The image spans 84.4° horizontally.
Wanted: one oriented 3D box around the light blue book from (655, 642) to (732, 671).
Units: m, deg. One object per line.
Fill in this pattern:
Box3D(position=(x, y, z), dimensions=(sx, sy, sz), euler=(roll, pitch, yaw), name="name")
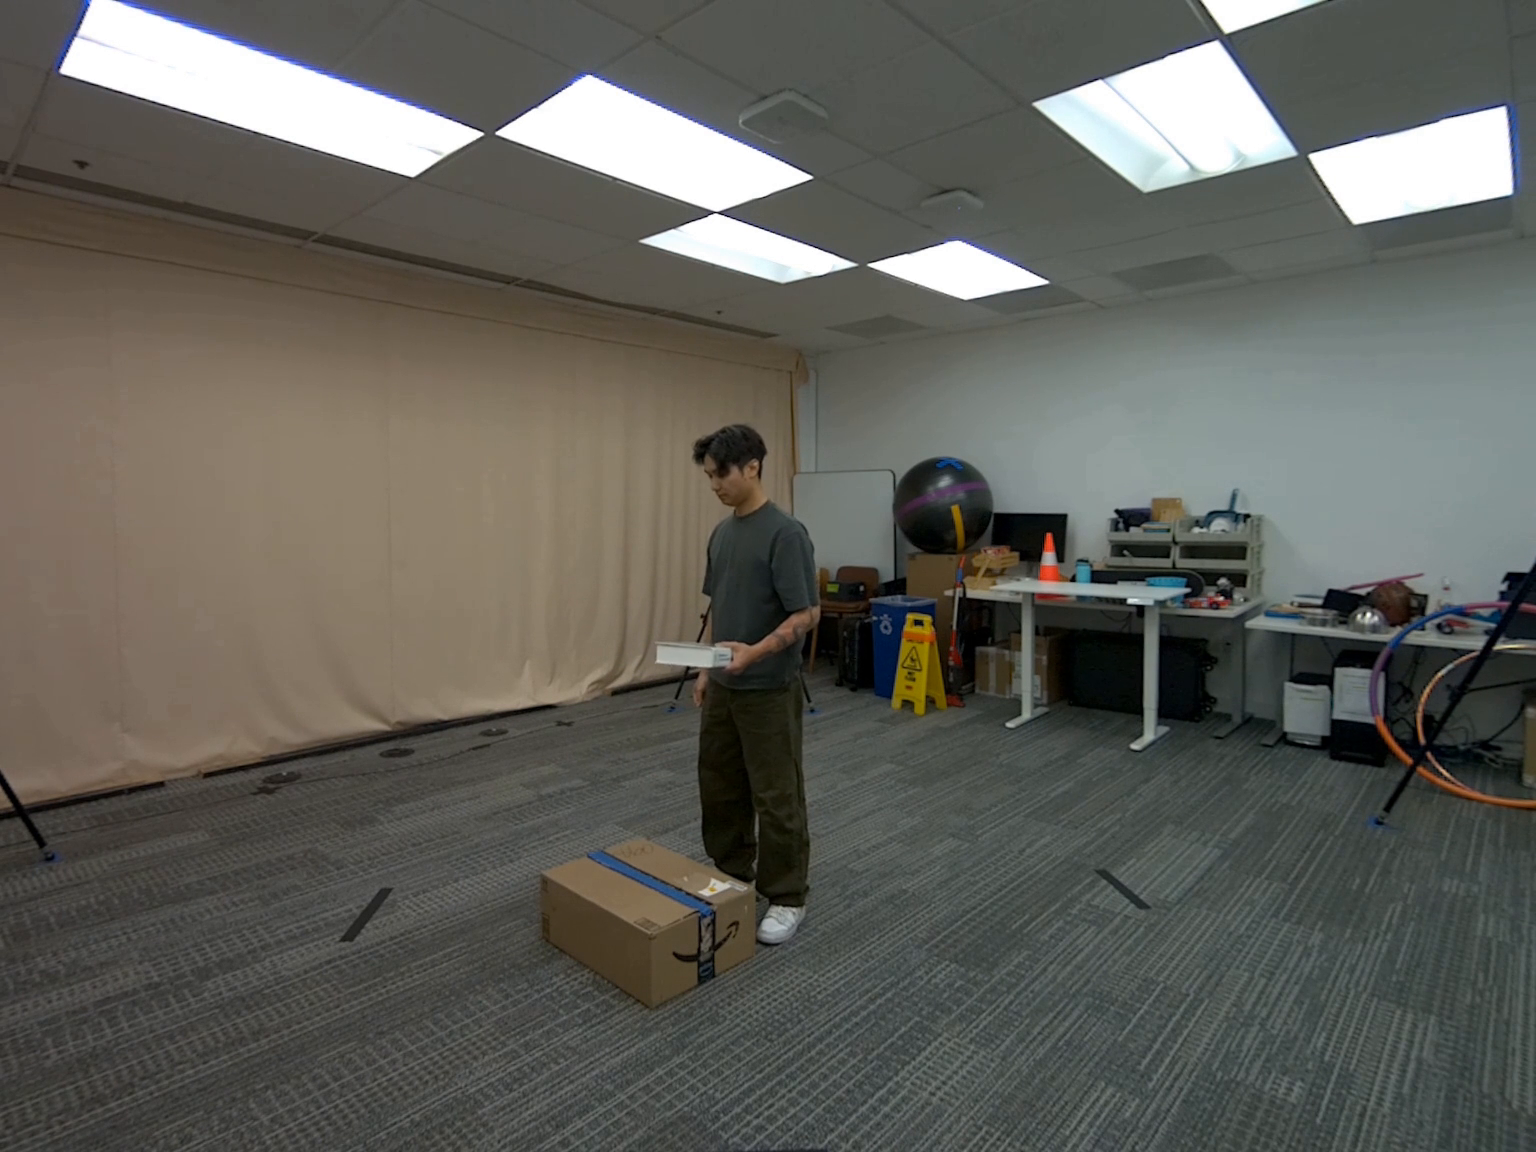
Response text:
Box3D(position=(-0.211, 0.246, 2.581), dimensions=(0.195, 0.059, 0.255), euler=(3, -4, 18), name="light blue book")
